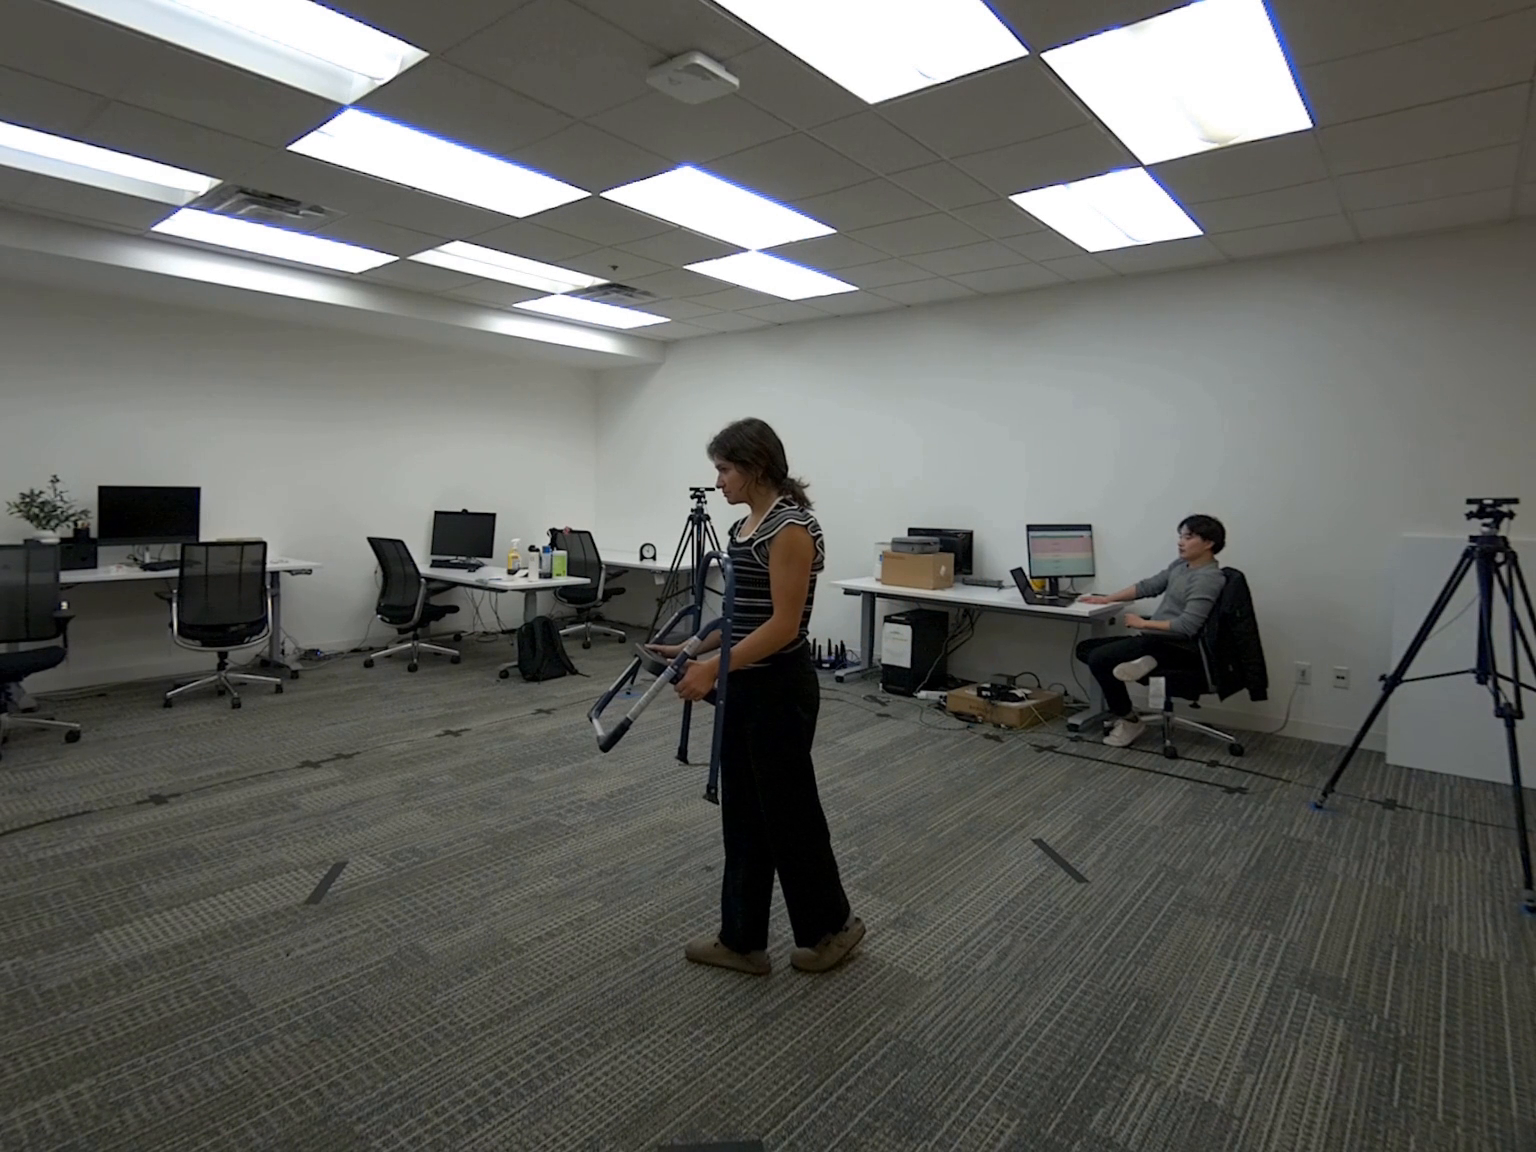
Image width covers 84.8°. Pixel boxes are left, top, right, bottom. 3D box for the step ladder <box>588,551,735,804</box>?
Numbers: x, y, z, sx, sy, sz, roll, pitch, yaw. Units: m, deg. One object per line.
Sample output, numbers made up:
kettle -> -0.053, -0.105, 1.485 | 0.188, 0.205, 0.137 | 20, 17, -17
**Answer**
step ladder -> -0.212, 0.239, 2.411 | 0.342, 0.607, 0.439 | 27, -6, -18
